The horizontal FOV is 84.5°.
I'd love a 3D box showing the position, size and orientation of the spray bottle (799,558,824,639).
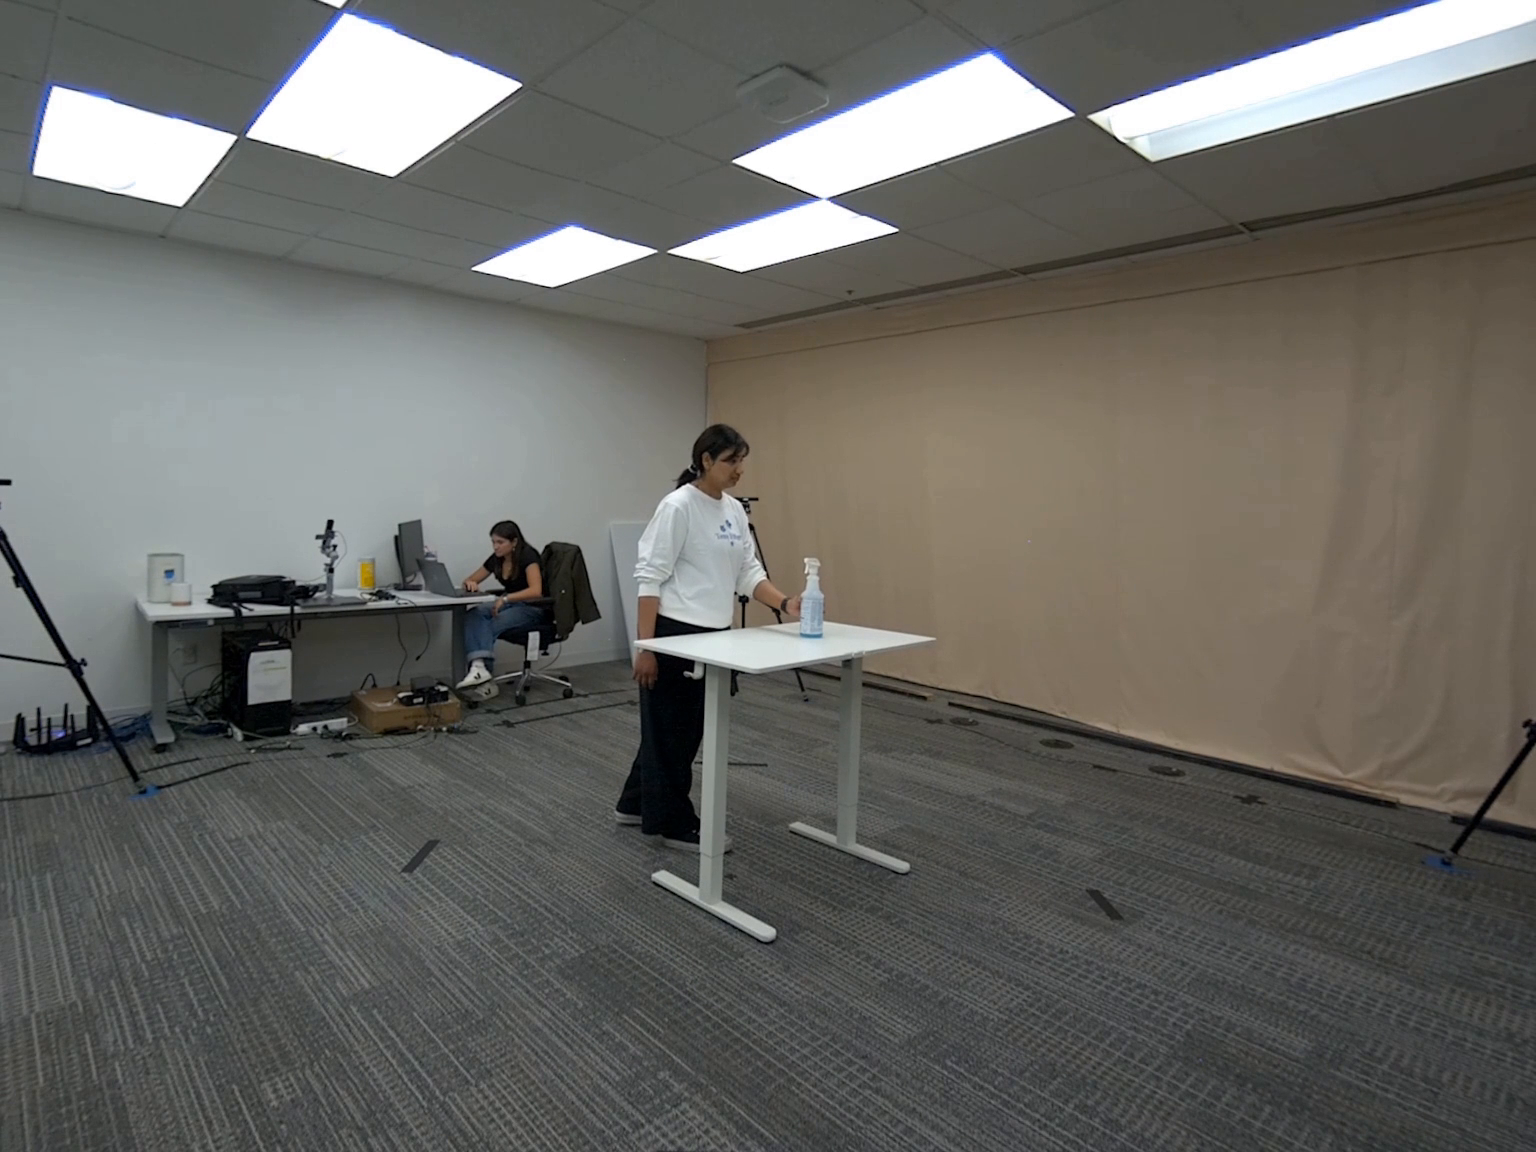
[{"bbox_3d":[0.157,0.081,3.157,0.088,0.297,0.089,0,3,-24],"label":"spray bottle"}]
